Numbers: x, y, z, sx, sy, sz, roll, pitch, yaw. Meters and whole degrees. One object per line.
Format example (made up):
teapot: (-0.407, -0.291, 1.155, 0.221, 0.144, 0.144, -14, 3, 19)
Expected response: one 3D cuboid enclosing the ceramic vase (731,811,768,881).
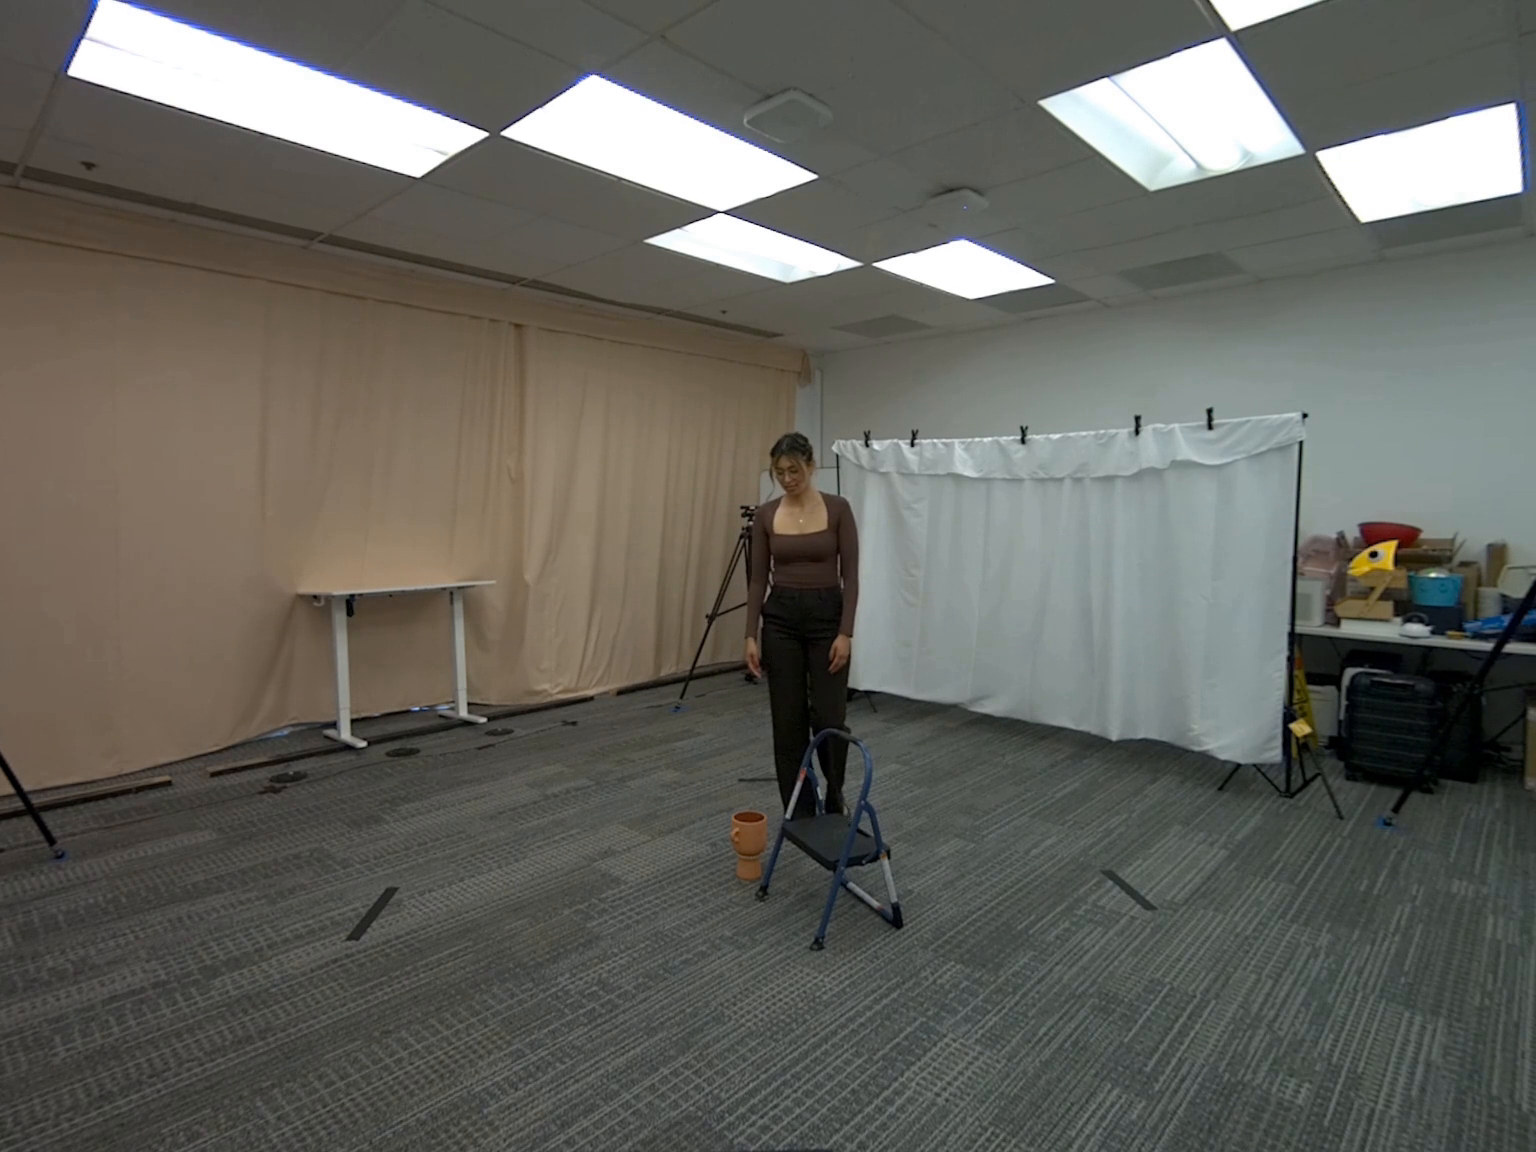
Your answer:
ceramic vase: (-0.067, 1.010, 3.173, 0.157, 0.219, 0.136, -1, 3, -11)
